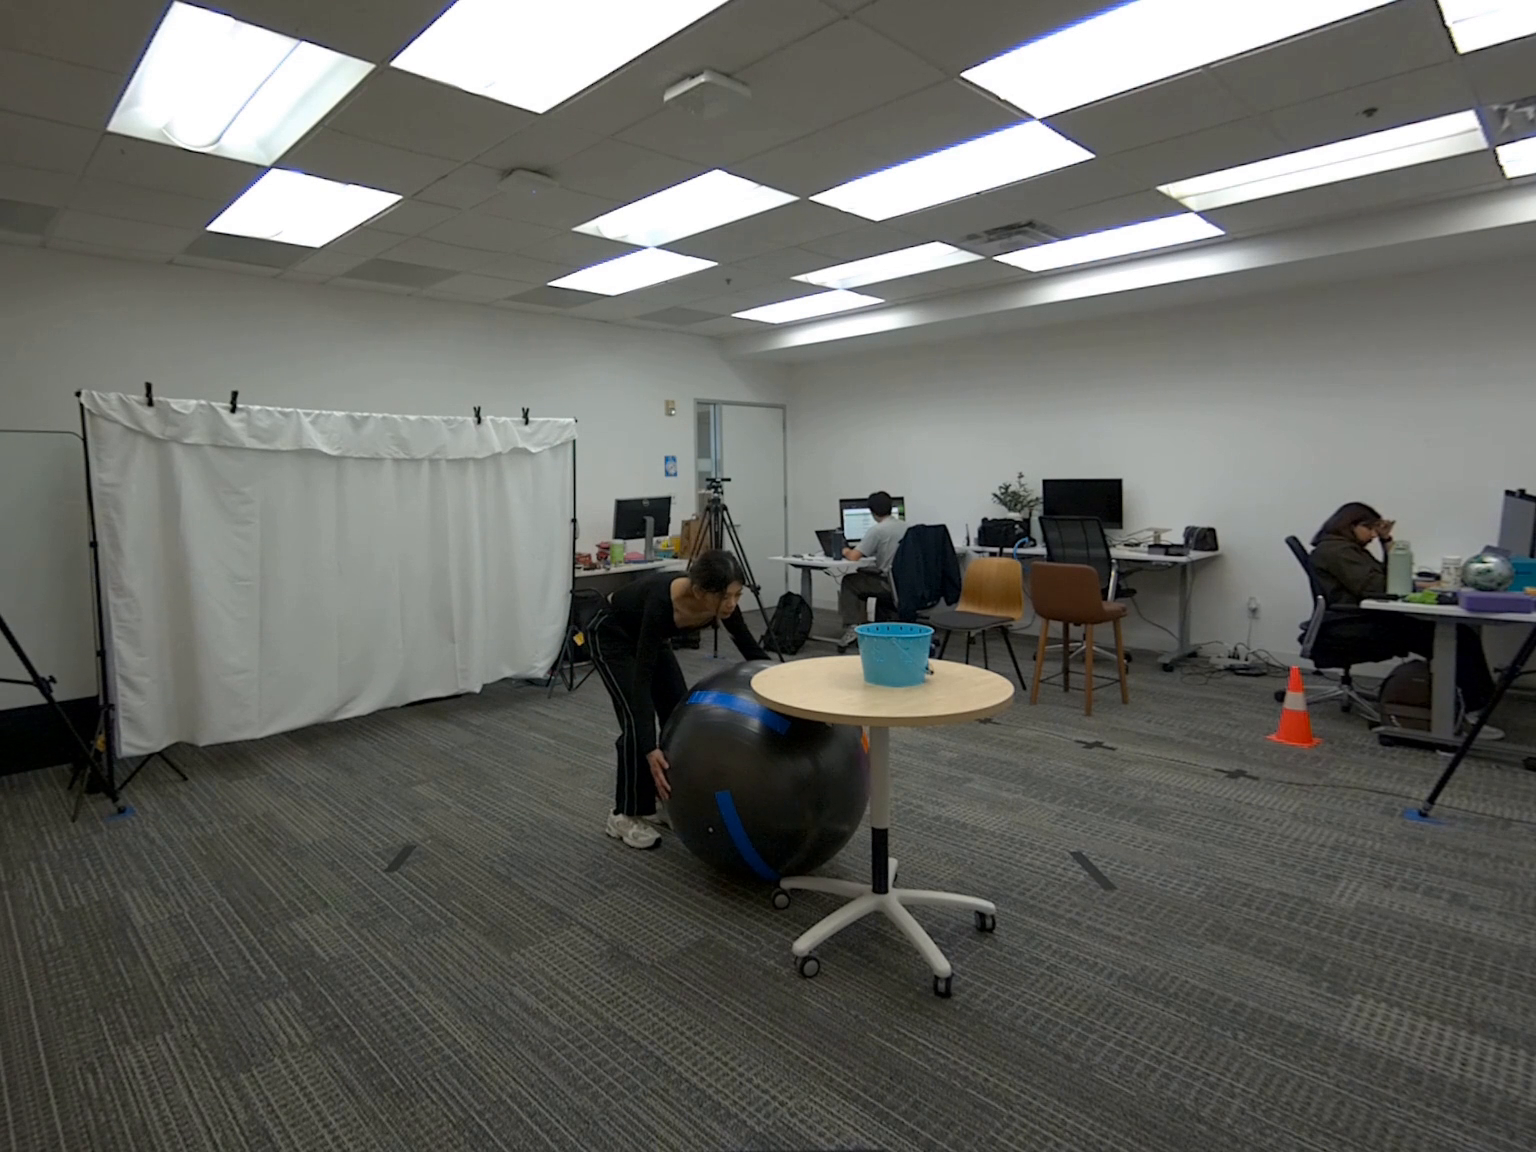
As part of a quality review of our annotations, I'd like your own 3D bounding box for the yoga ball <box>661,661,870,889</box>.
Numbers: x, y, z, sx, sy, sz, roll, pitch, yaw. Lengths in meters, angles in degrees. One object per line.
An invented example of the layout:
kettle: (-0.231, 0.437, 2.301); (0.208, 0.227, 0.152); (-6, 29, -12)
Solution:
yoga ball: (-0.014, 0.691, 3.024); (0.757, 0.755, 0.762); (-1, 5, -2)
